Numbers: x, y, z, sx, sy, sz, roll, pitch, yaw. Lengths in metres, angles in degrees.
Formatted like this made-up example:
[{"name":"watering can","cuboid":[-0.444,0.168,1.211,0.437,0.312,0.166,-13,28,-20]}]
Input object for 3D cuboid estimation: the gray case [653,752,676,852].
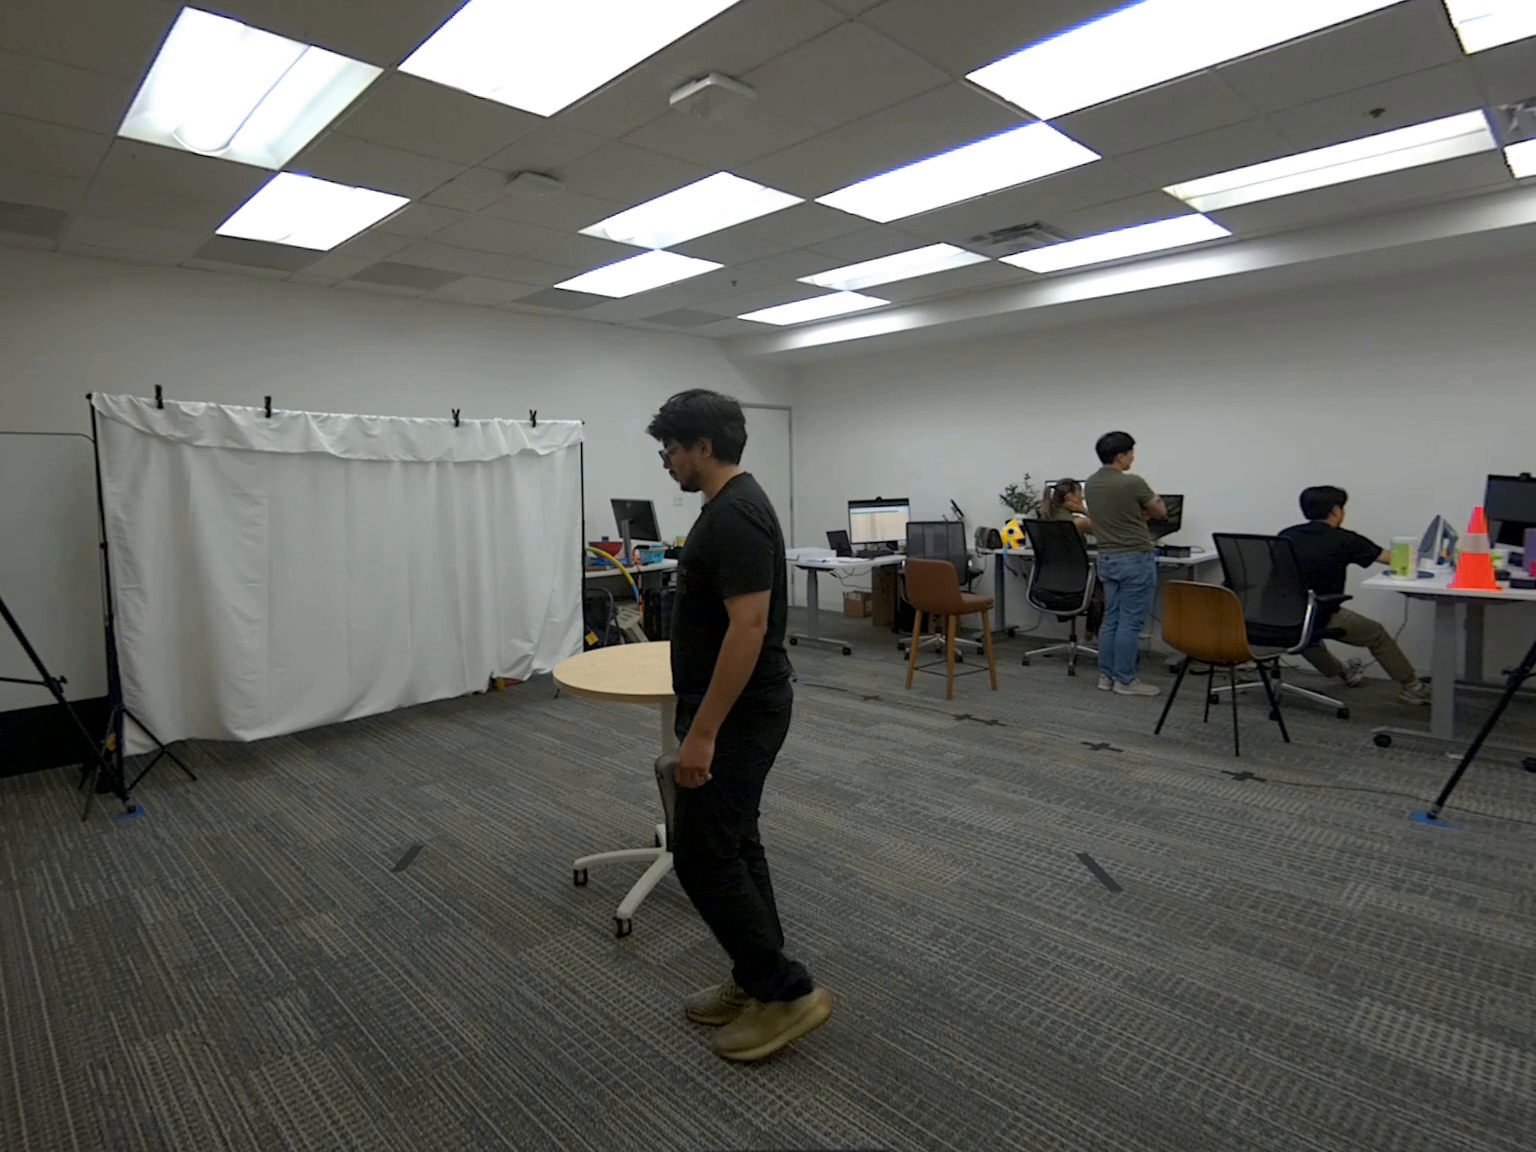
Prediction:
[{"name":"gray case","cuboid":[-0.170,0.603,2.448,0.253,0.261,0.106,-12,-1,-23]}]
